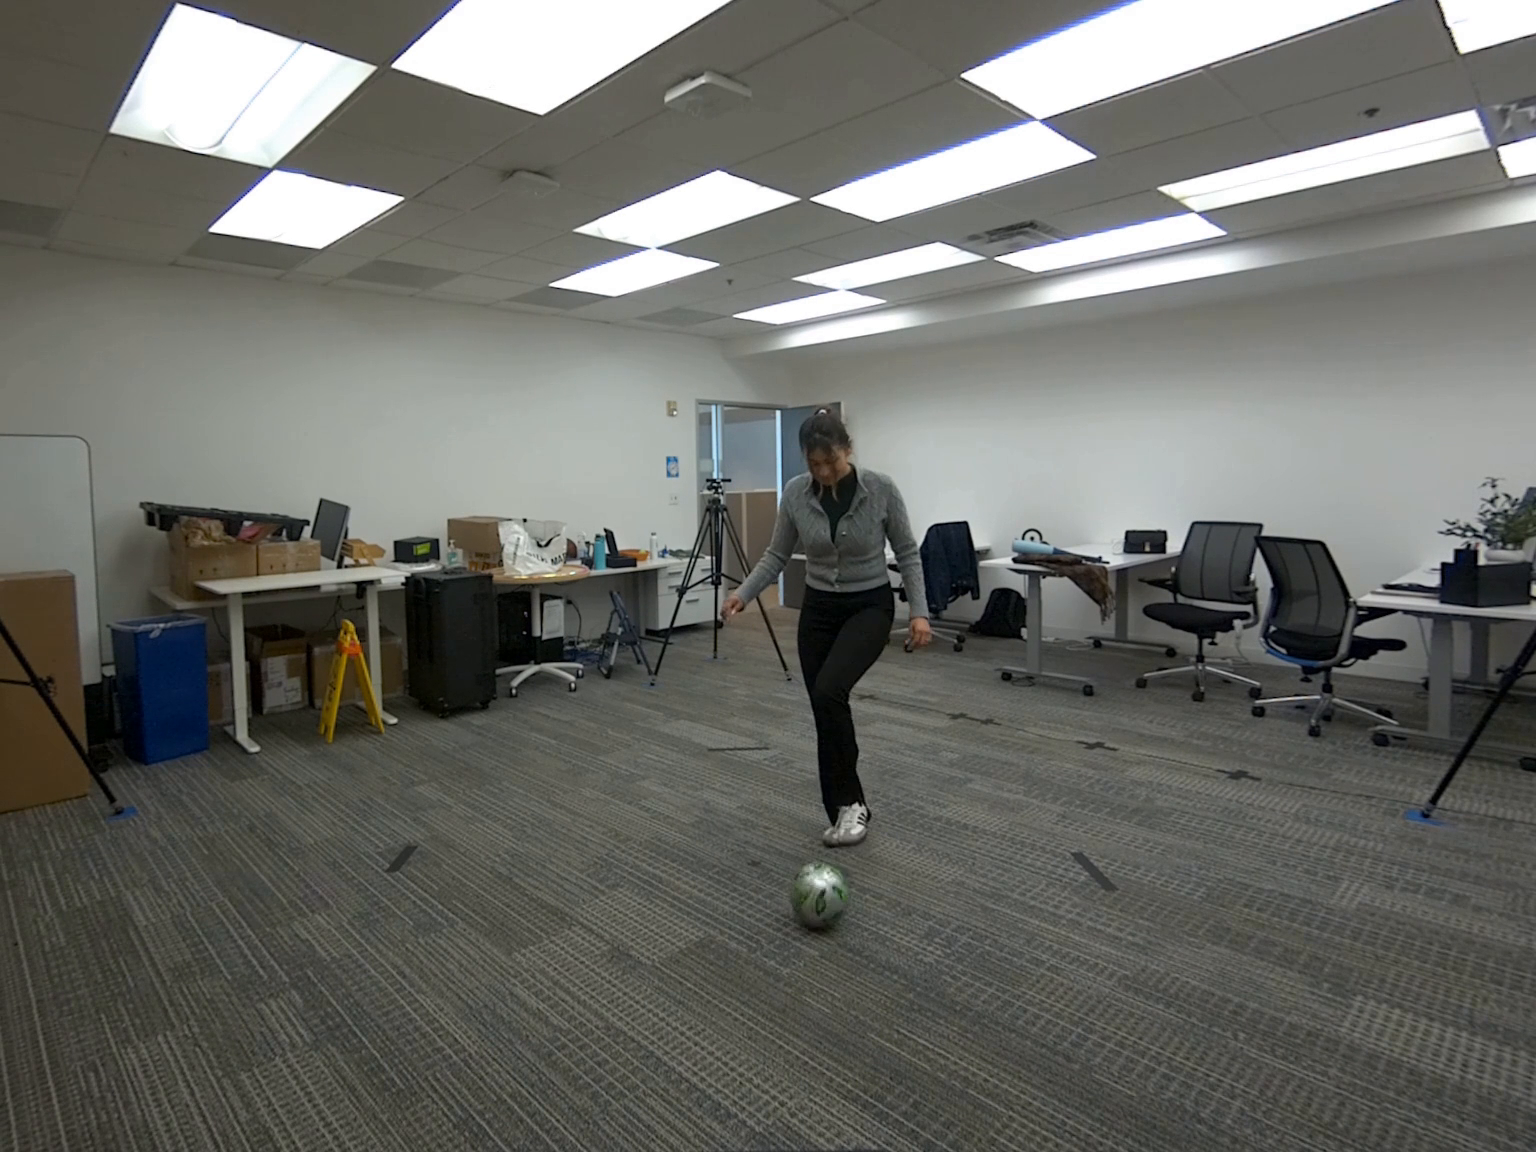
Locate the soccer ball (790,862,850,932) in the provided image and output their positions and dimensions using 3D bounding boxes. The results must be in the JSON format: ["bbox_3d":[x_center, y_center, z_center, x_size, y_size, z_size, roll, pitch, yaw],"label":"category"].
[{"bbox_3d":[0.163,0.993,2.677,0.187,0.187,0.188,-1,5,-2],"label":"soccer ball"}]
